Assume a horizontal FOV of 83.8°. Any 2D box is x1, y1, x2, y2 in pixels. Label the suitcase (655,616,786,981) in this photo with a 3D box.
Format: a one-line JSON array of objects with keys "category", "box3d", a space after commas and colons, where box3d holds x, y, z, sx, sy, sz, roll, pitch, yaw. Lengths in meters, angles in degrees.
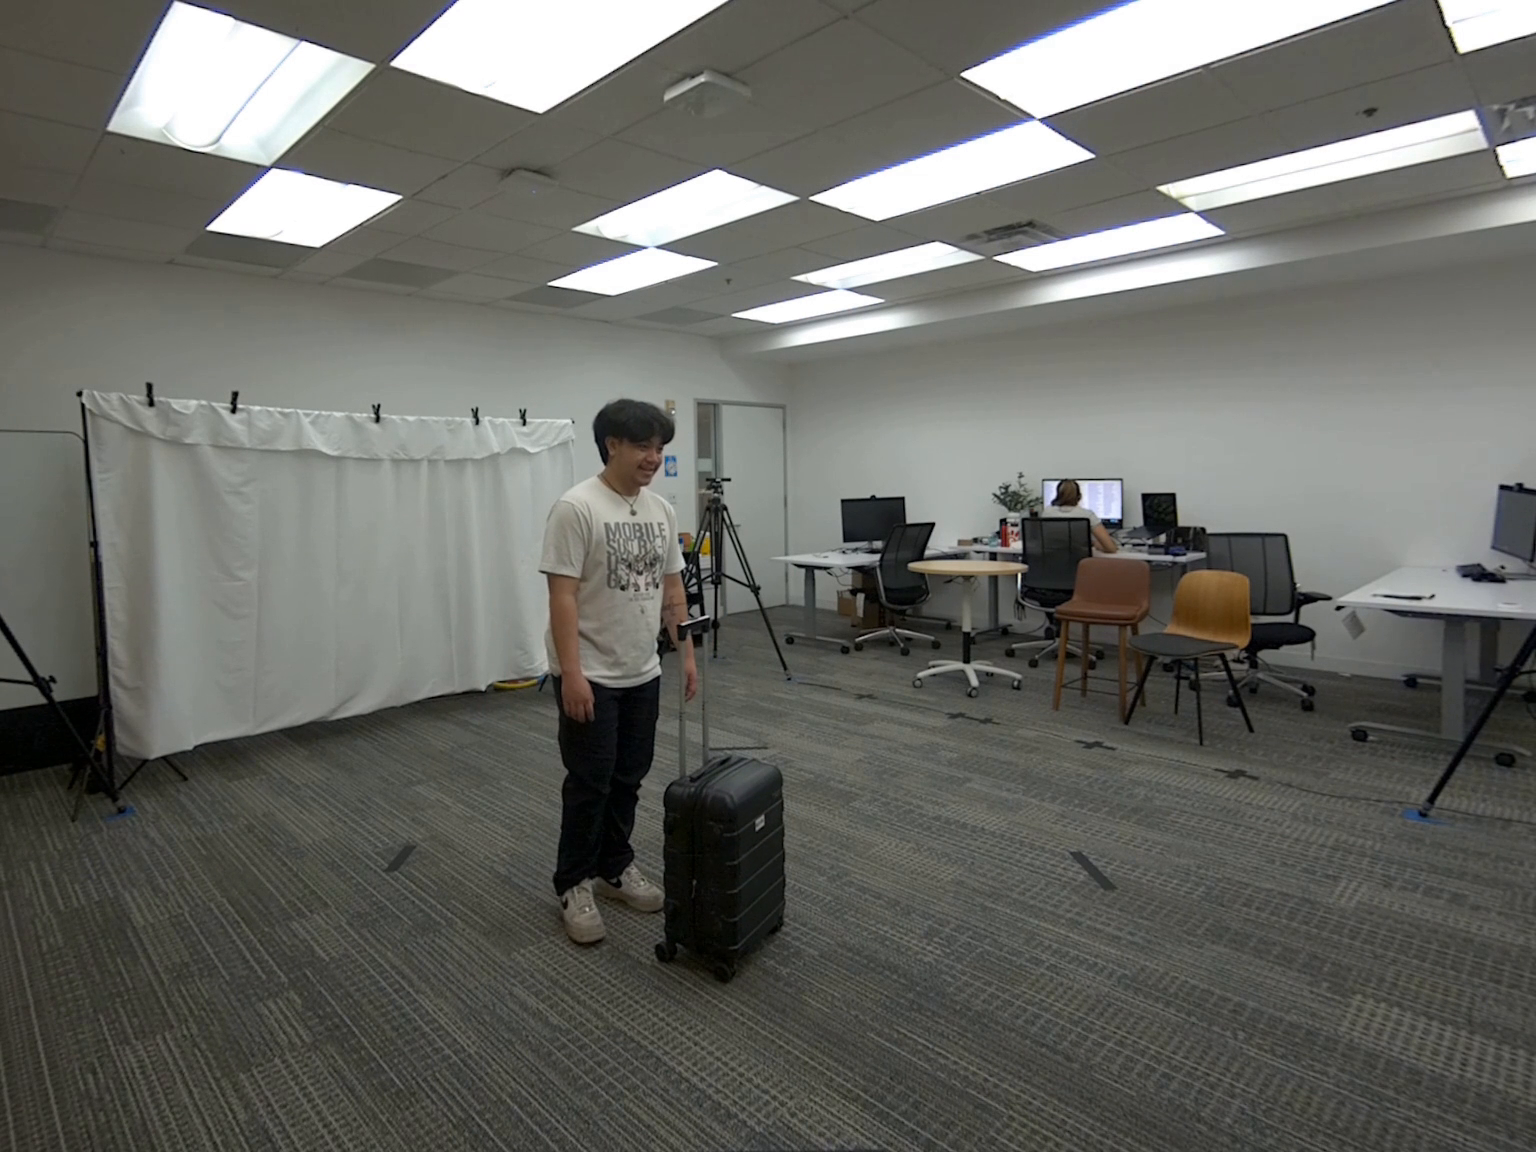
[{"category": "suitcase", "box3d": [-0.119, 0.639, 2.516, 0.264, 0.974, 0.376, 4, 6, 28]}]
